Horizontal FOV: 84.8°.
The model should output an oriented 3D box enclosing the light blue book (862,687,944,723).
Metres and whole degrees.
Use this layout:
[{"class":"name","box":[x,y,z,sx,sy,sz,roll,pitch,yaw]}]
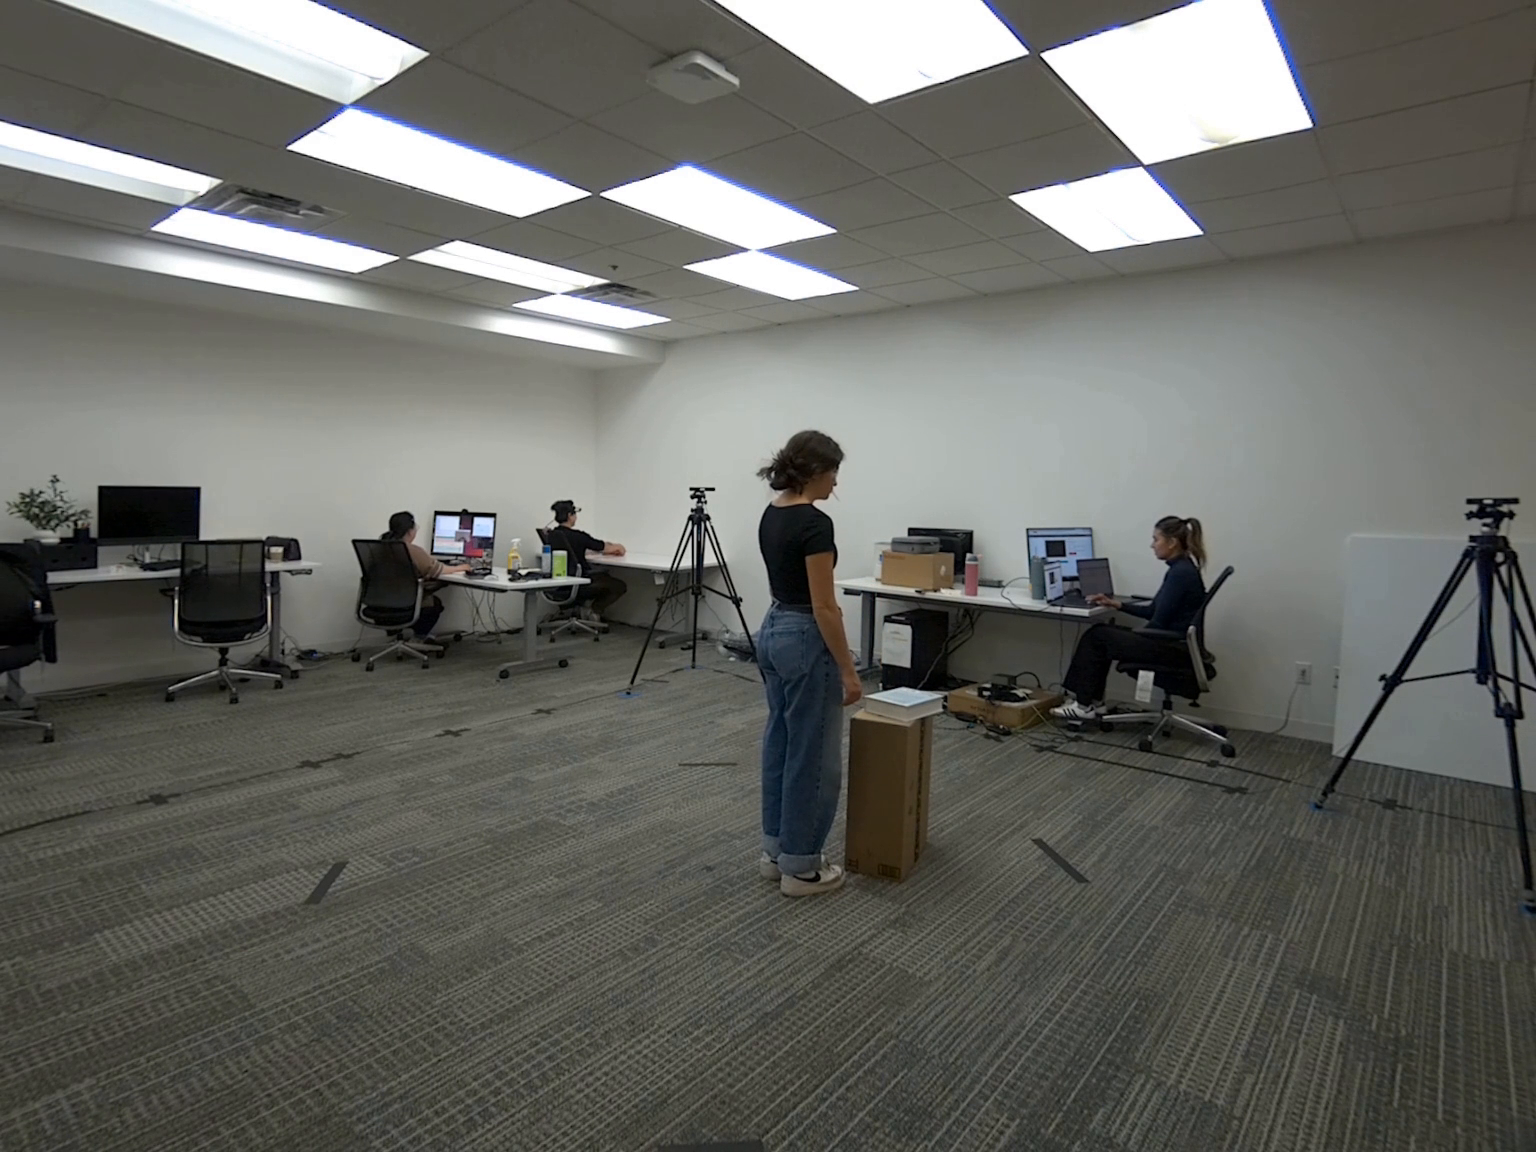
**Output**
[{"class":"light blue book","box":[0.509,0.479,3.221,0.198,0.059,0.253,8,8,41]}]
